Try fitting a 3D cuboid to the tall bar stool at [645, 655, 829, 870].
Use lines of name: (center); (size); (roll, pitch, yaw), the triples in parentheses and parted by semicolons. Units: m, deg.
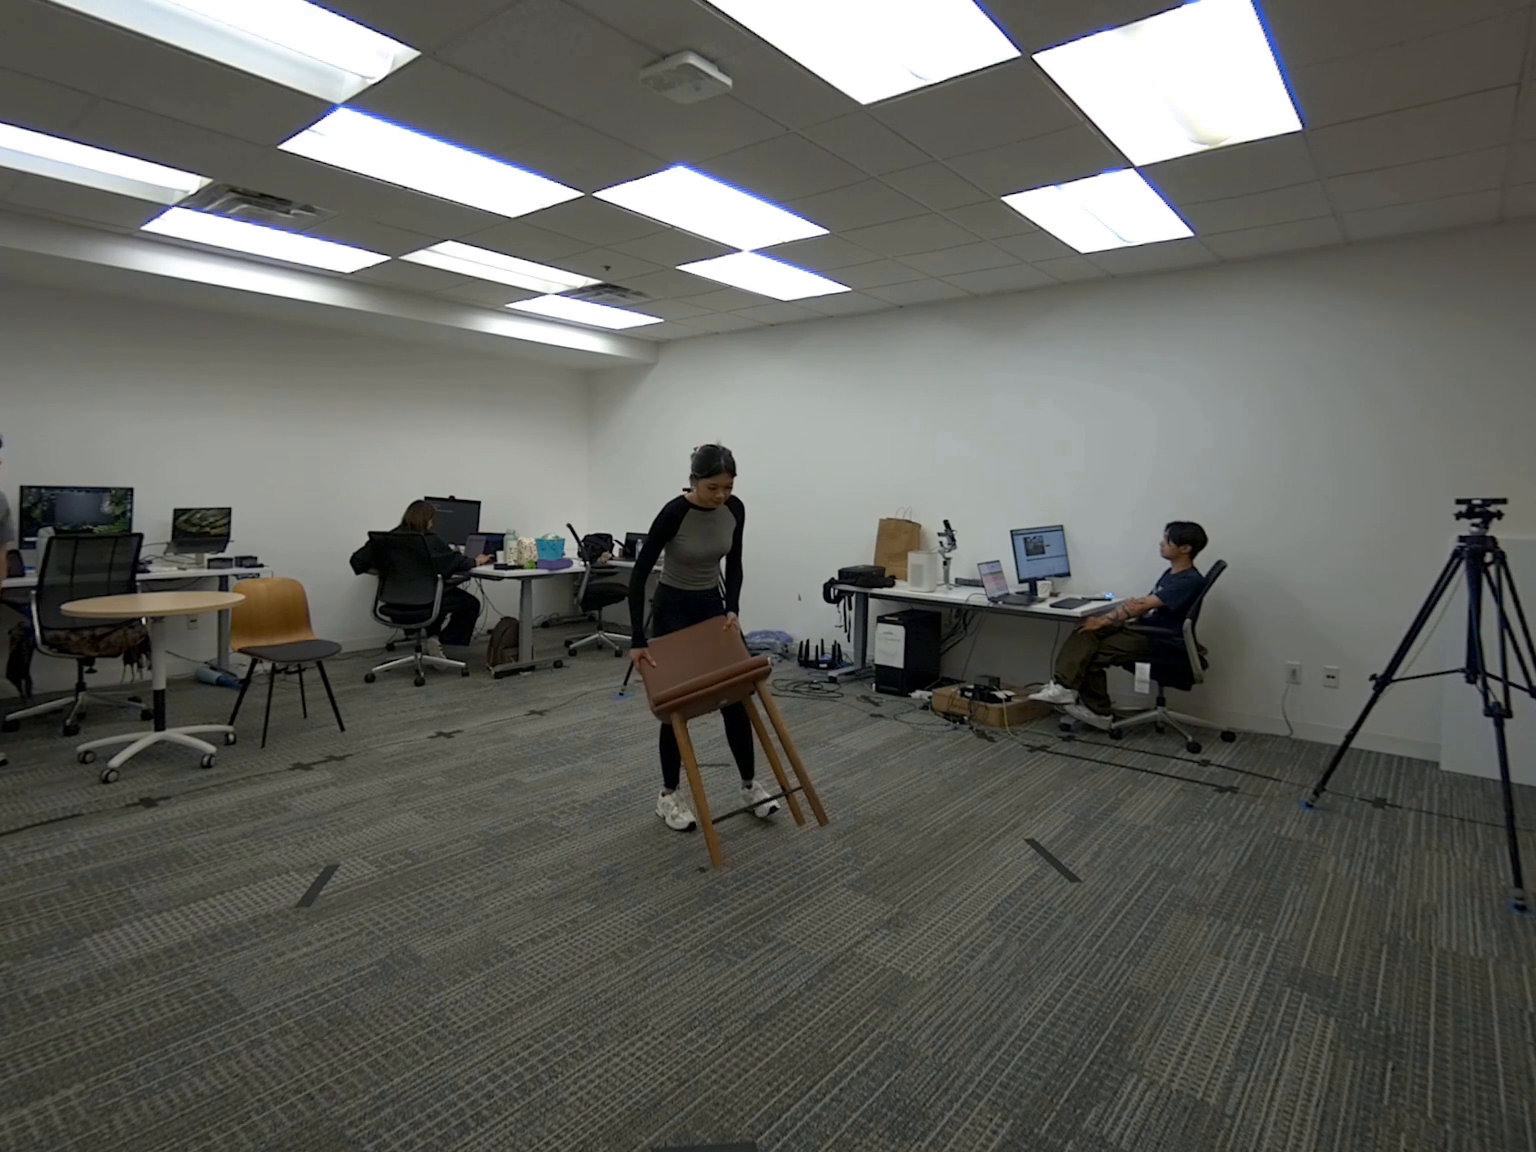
tall bar stool: (-0.175, 0.557, 3.135); (0.453, 0.910, 0.460); (-20, -17, -10)
